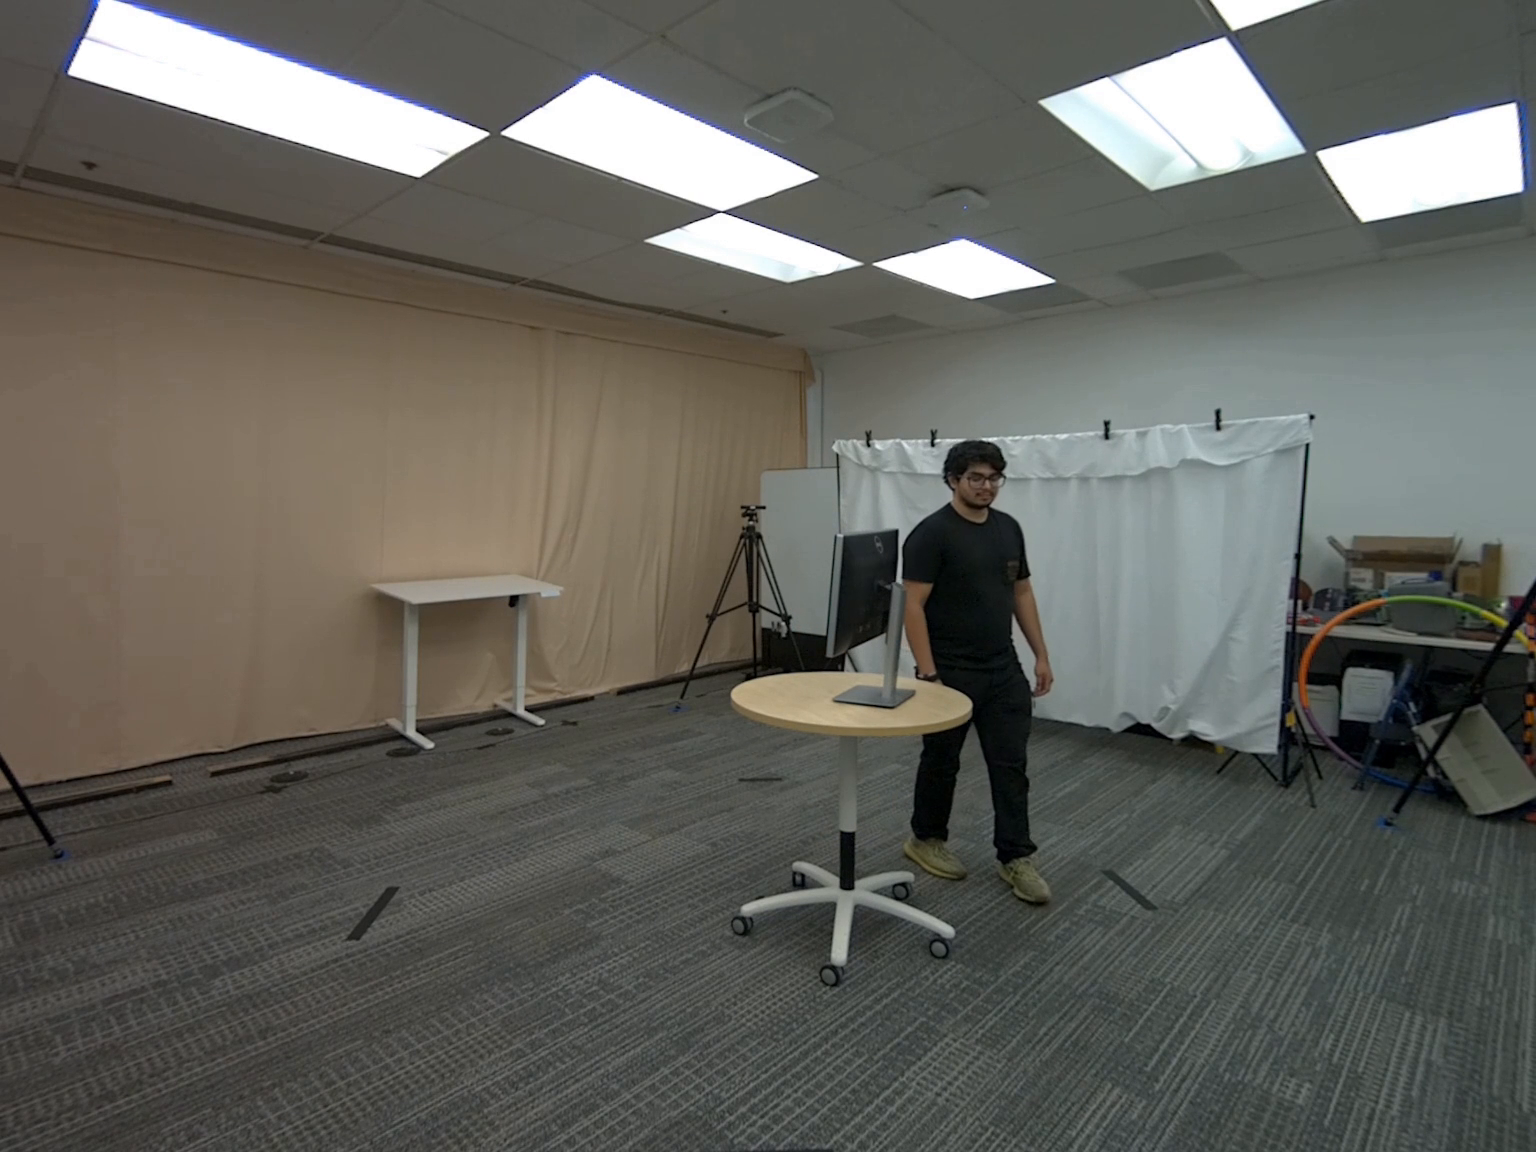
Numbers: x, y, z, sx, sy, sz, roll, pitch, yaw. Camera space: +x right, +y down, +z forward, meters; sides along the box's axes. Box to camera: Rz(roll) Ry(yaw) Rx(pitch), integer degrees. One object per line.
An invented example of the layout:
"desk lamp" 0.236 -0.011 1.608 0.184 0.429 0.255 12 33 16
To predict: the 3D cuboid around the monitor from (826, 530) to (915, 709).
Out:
"monitor" 0.371 0.130 2.667 0.216 0.552 0.551 4 5 26
